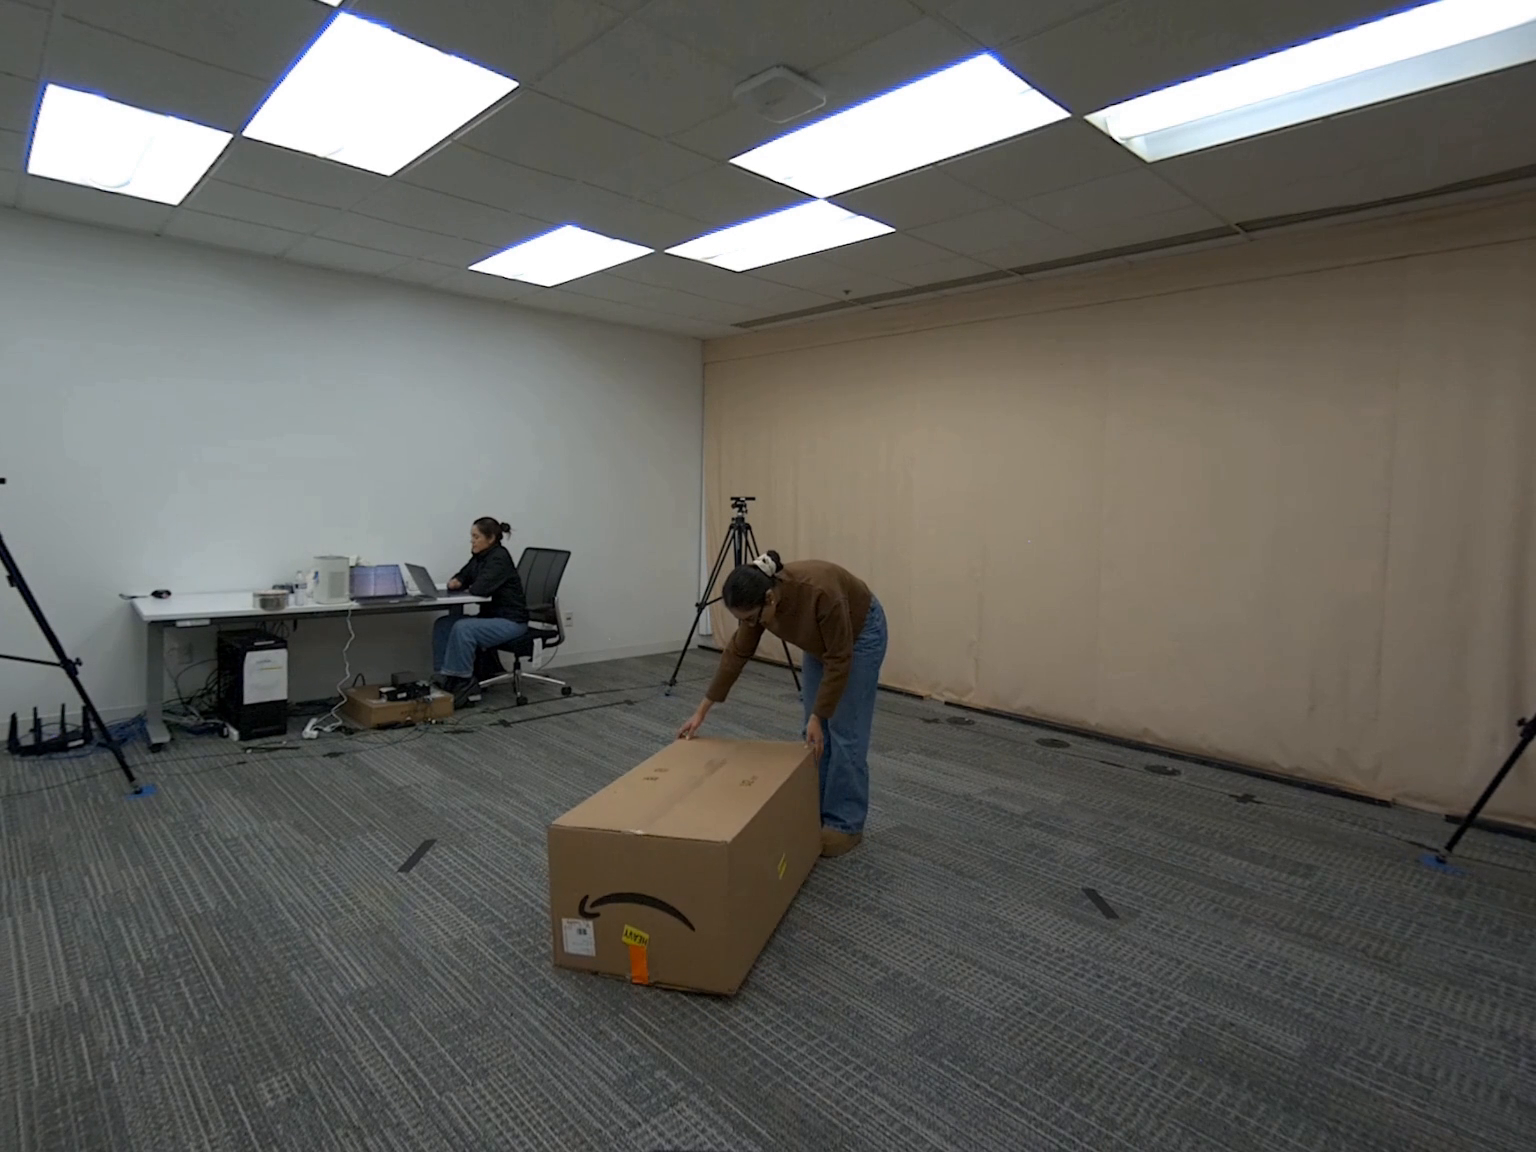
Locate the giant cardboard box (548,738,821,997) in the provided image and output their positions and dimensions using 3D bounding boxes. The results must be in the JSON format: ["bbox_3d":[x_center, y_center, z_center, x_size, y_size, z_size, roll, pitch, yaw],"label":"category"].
[{"bbox_3d":[-0.228,0.902,2.852,0.592,0.445,1.015,1,5,18],"label":"giant cardboard box"}]
